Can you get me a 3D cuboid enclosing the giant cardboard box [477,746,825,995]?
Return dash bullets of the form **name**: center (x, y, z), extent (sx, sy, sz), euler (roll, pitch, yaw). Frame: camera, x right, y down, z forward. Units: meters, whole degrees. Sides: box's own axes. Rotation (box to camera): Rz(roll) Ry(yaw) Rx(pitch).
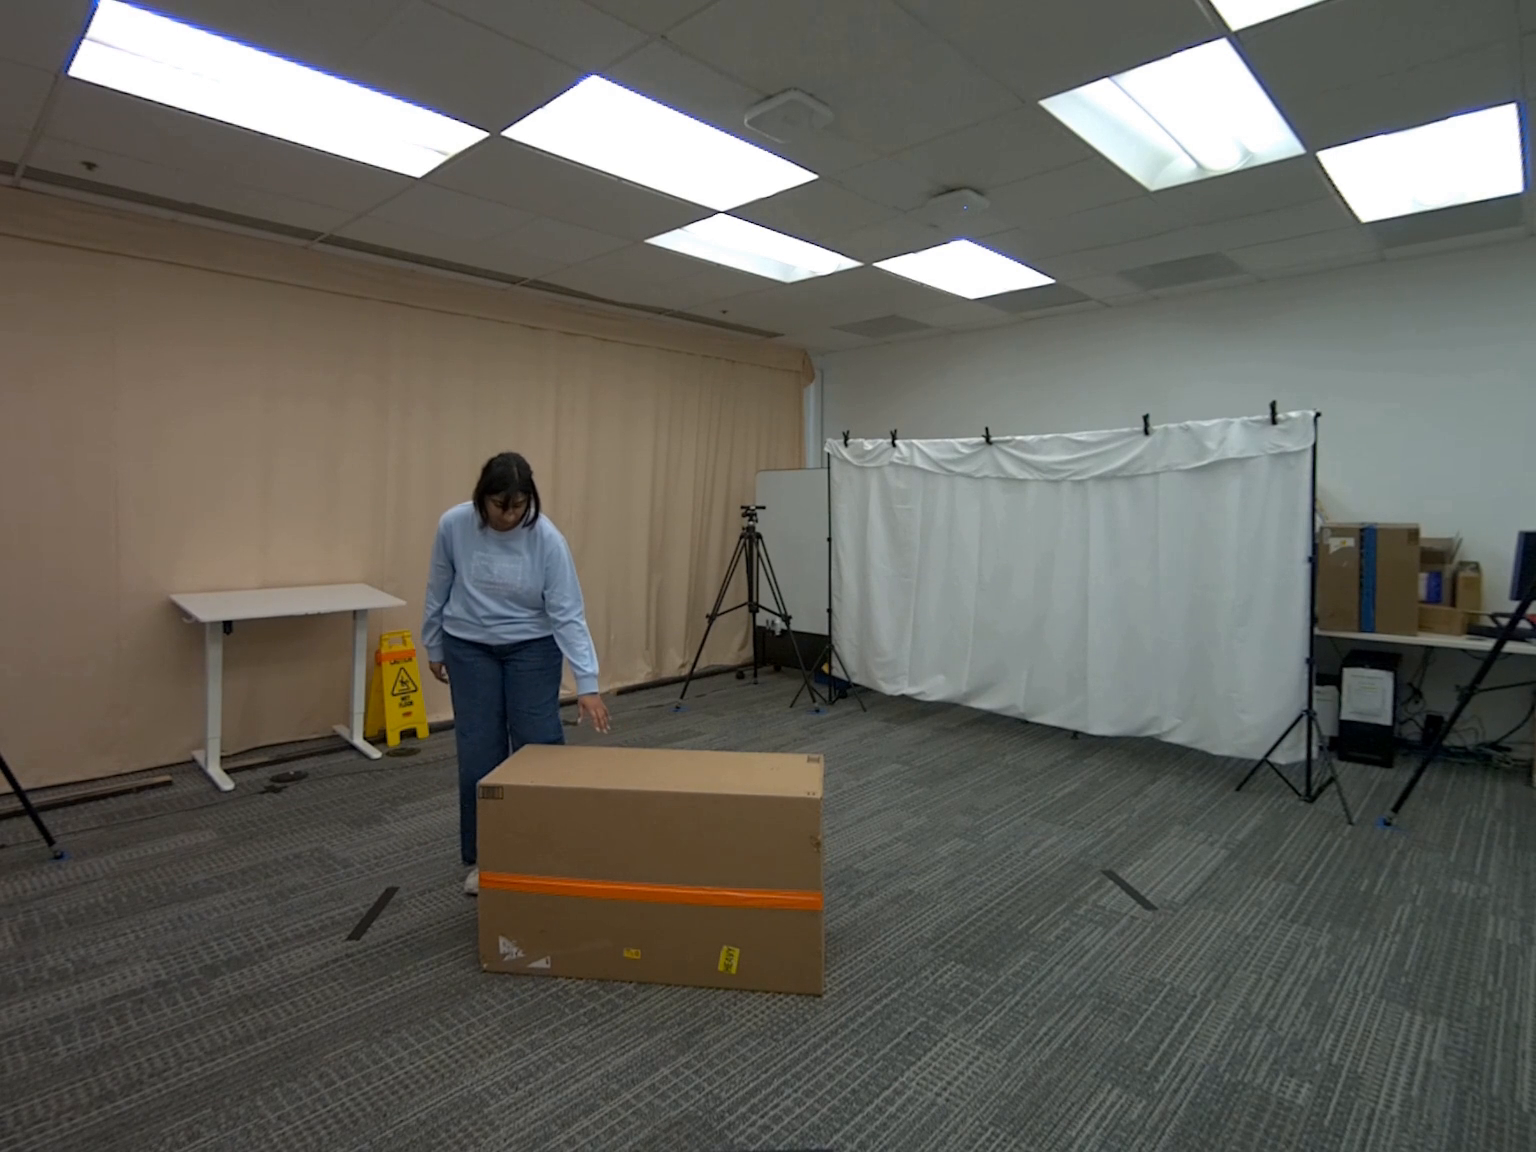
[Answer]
- **giant cardboard box**: center (-0.335, 0.882, 2.642), extent (1.035, 0.576, 0.423), euler (1, 4, 7)
